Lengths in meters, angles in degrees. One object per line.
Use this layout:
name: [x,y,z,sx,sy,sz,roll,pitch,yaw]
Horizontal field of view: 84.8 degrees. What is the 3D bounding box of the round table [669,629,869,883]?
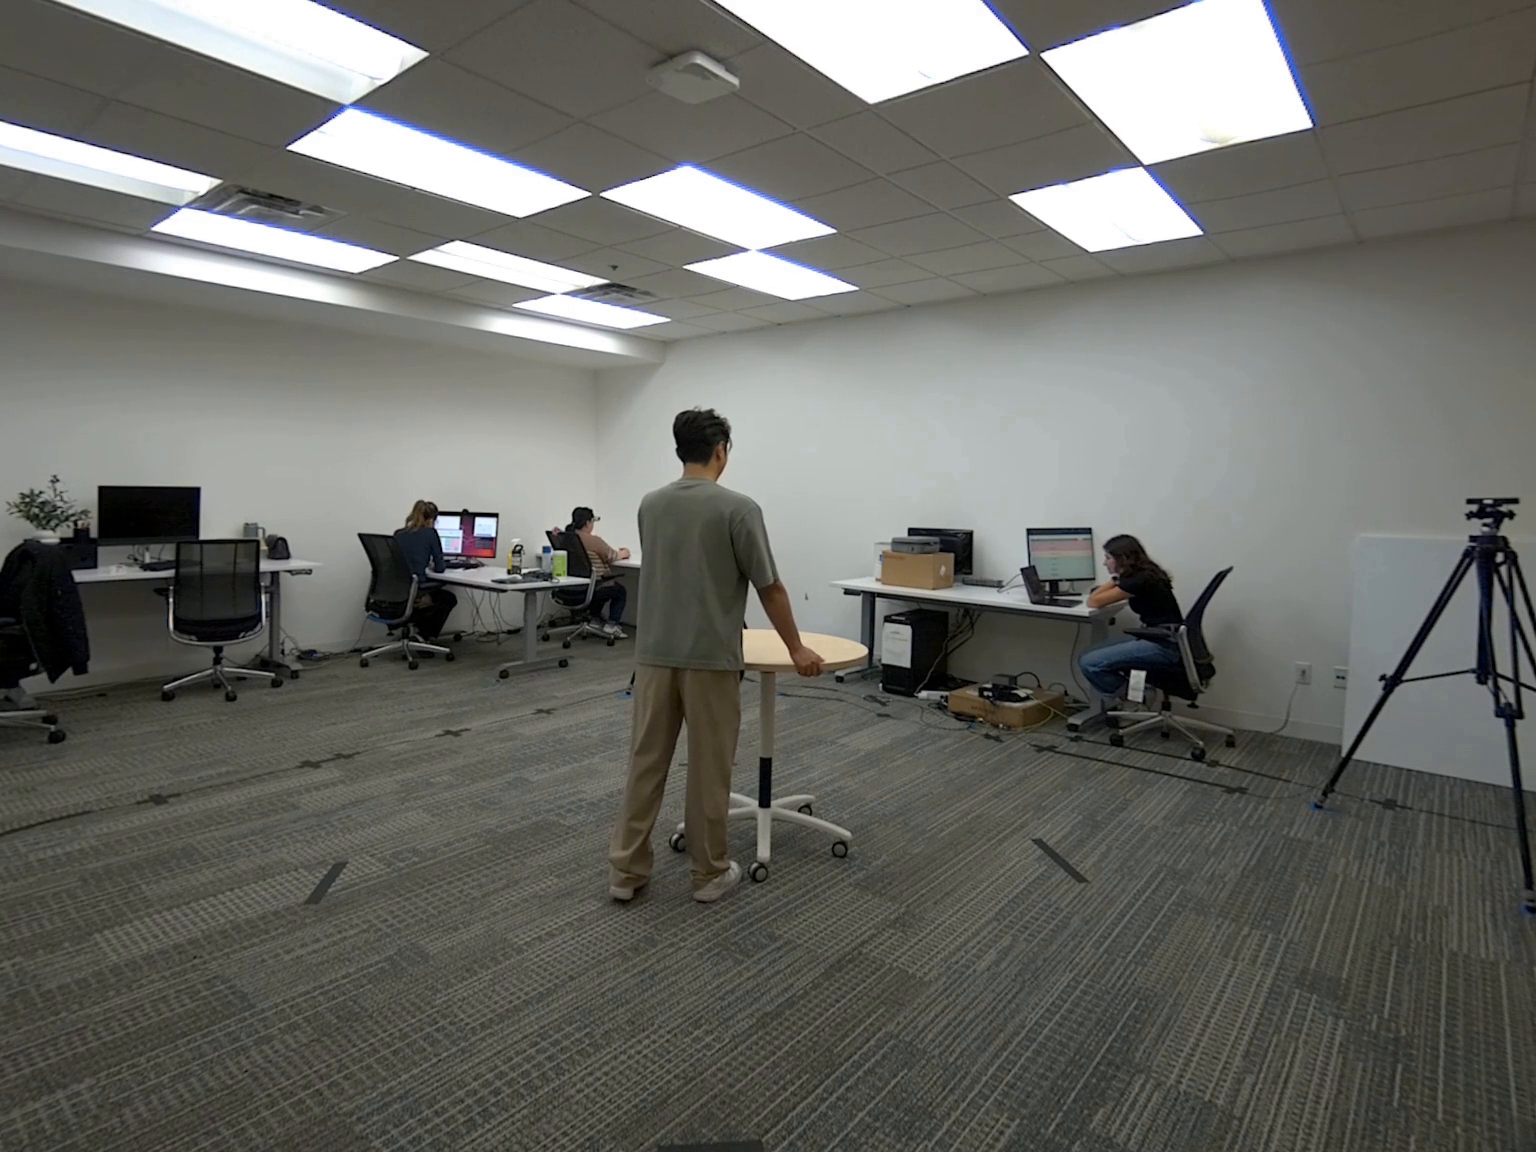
round table: [-0.004,0.654,3.335,0.784,0.784,0.789,1,4,-2]
